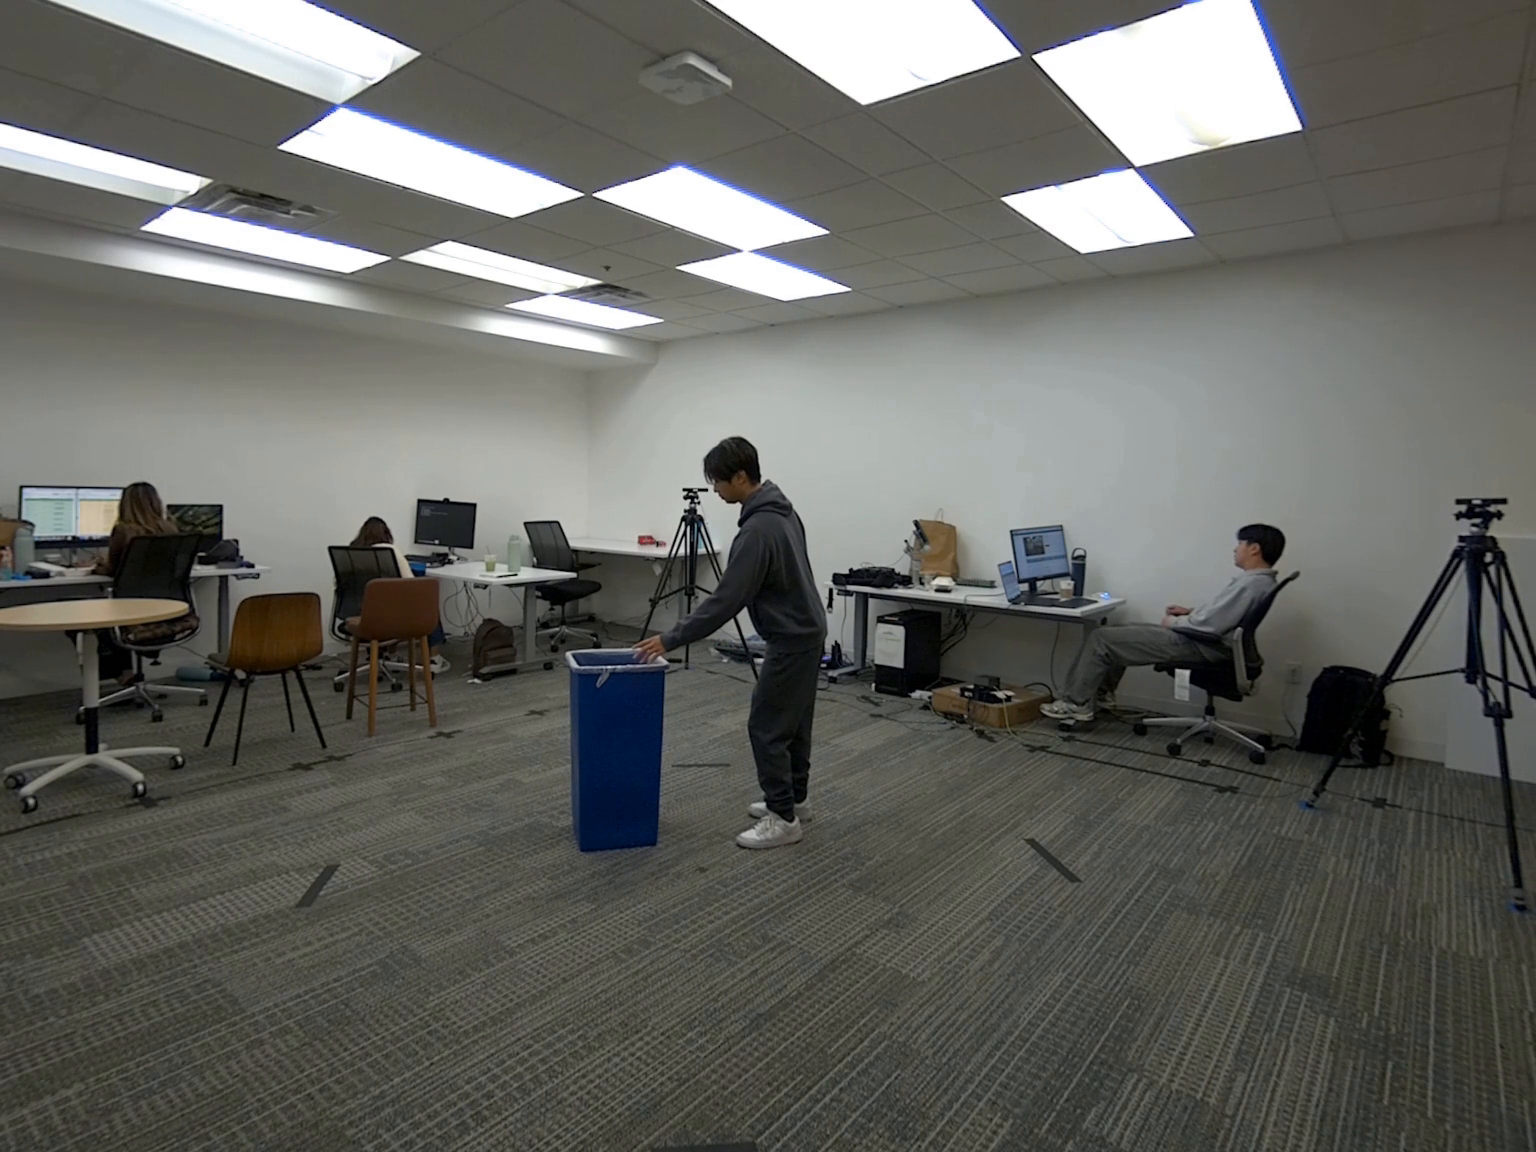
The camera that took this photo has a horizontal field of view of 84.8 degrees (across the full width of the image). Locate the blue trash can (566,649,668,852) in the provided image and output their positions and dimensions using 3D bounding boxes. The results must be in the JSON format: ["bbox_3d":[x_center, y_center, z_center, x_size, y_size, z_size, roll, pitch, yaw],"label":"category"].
[{"bbox_3d":[-0.621,0.673,3.407,0.371,0.712,0.382,1,3,-17],"label":"blue trash can"}]
